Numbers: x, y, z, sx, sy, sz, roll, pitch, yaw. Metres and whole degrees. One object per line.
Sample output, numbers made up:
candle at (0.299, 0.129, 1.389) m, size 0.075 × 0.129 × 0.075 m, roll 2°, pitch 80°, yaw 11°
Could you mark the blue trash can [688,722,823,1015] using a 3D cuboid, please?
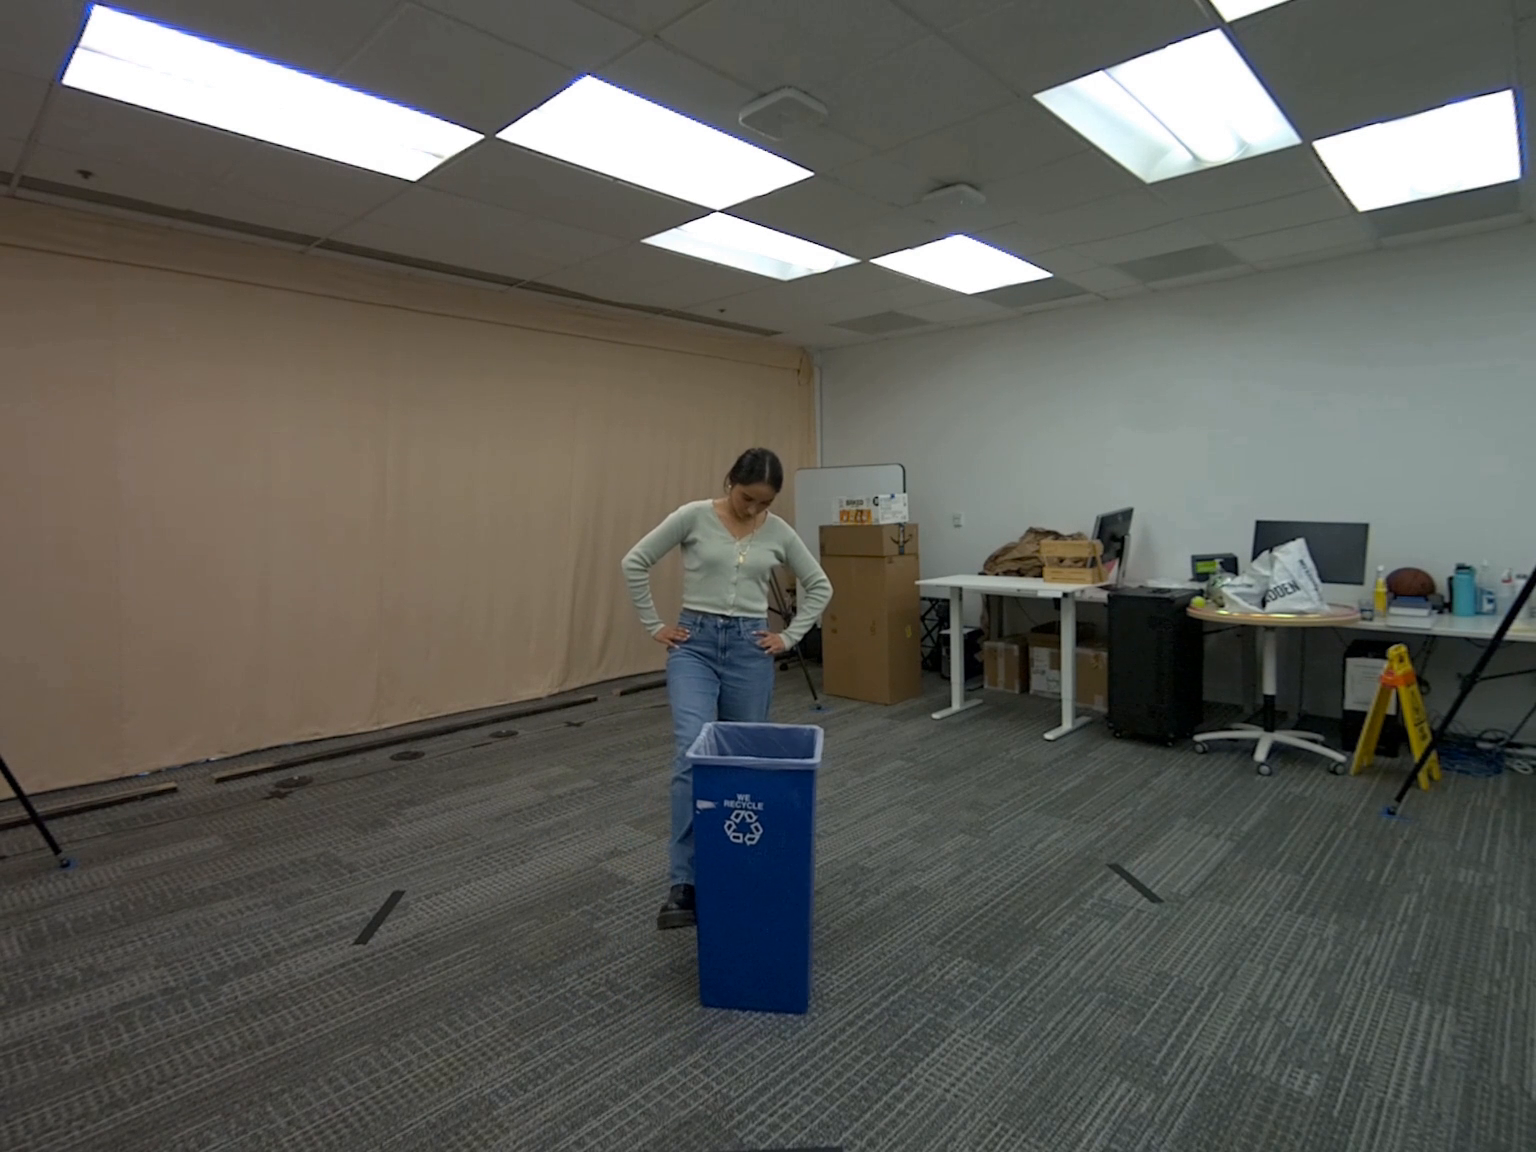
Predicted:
blue trash can at (-0.020, 0.829, 2.436) m, size 0.382 × 0.712 × 0.371 m, roll 0°, pitch 3°, yaw 8°
